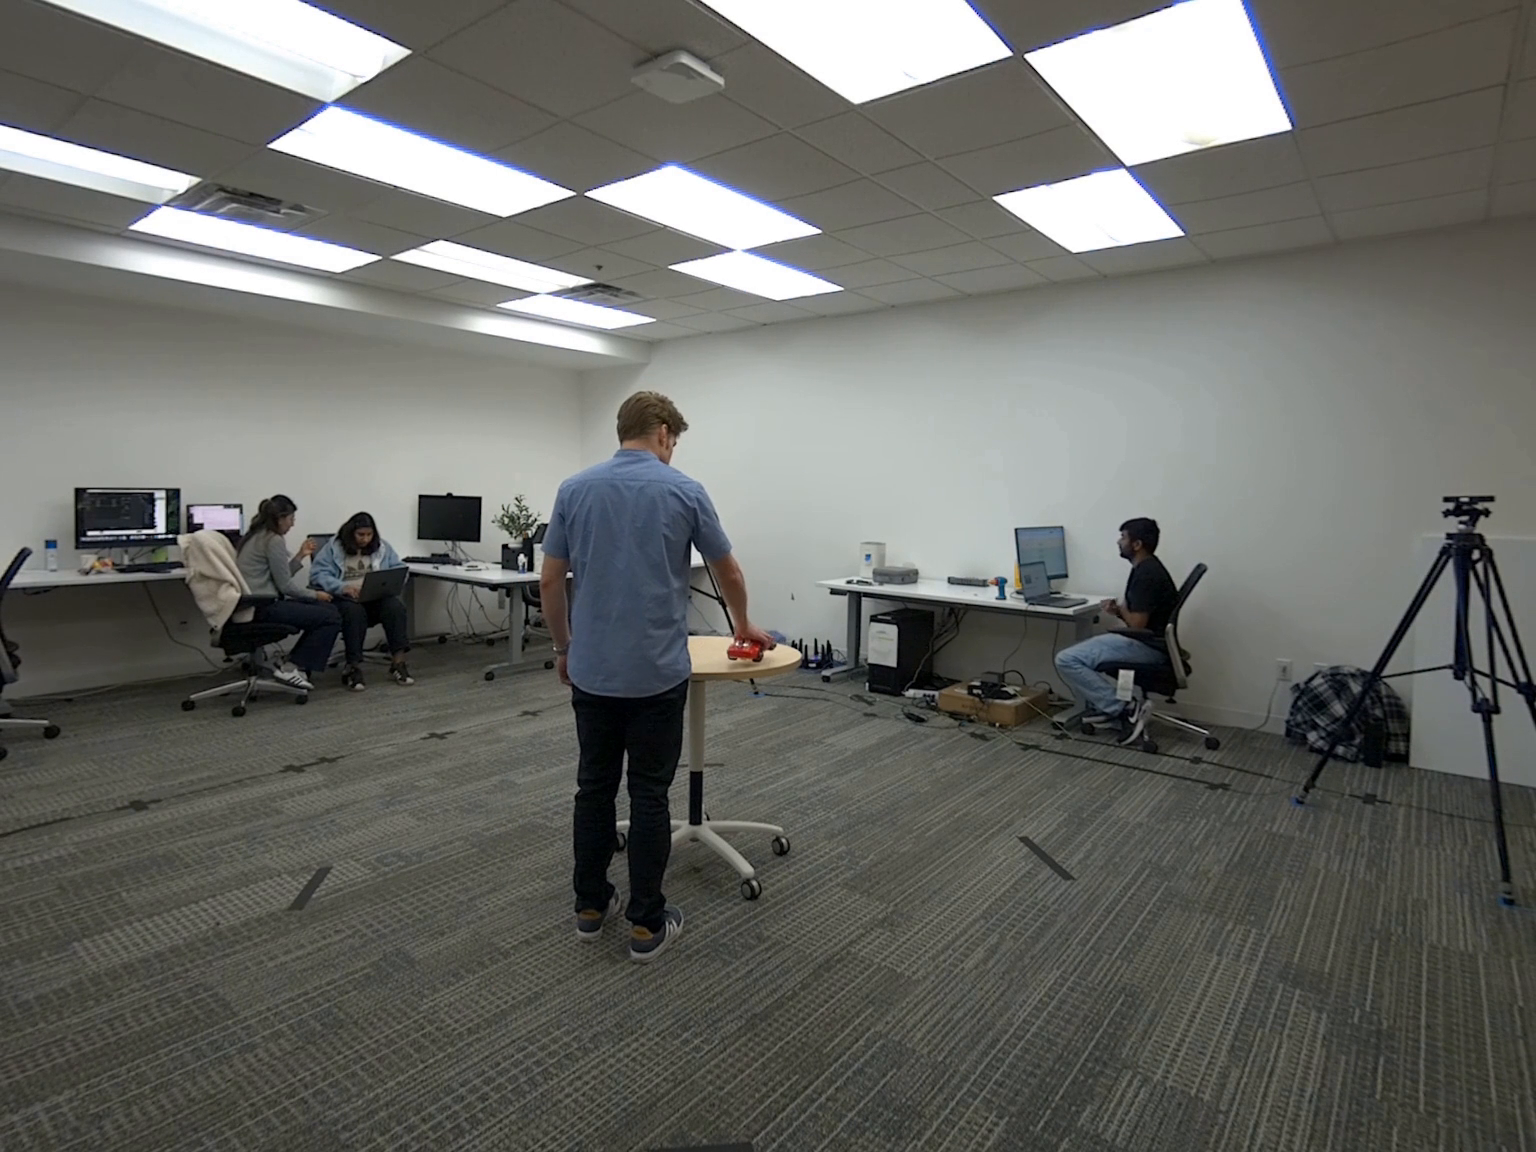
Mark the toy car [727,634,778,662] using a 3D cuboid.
[{"bbox_3d":[-0.076,0.250,2.962,0.133,0.083,0.249,3,1,19],"label":"toy car"}]
